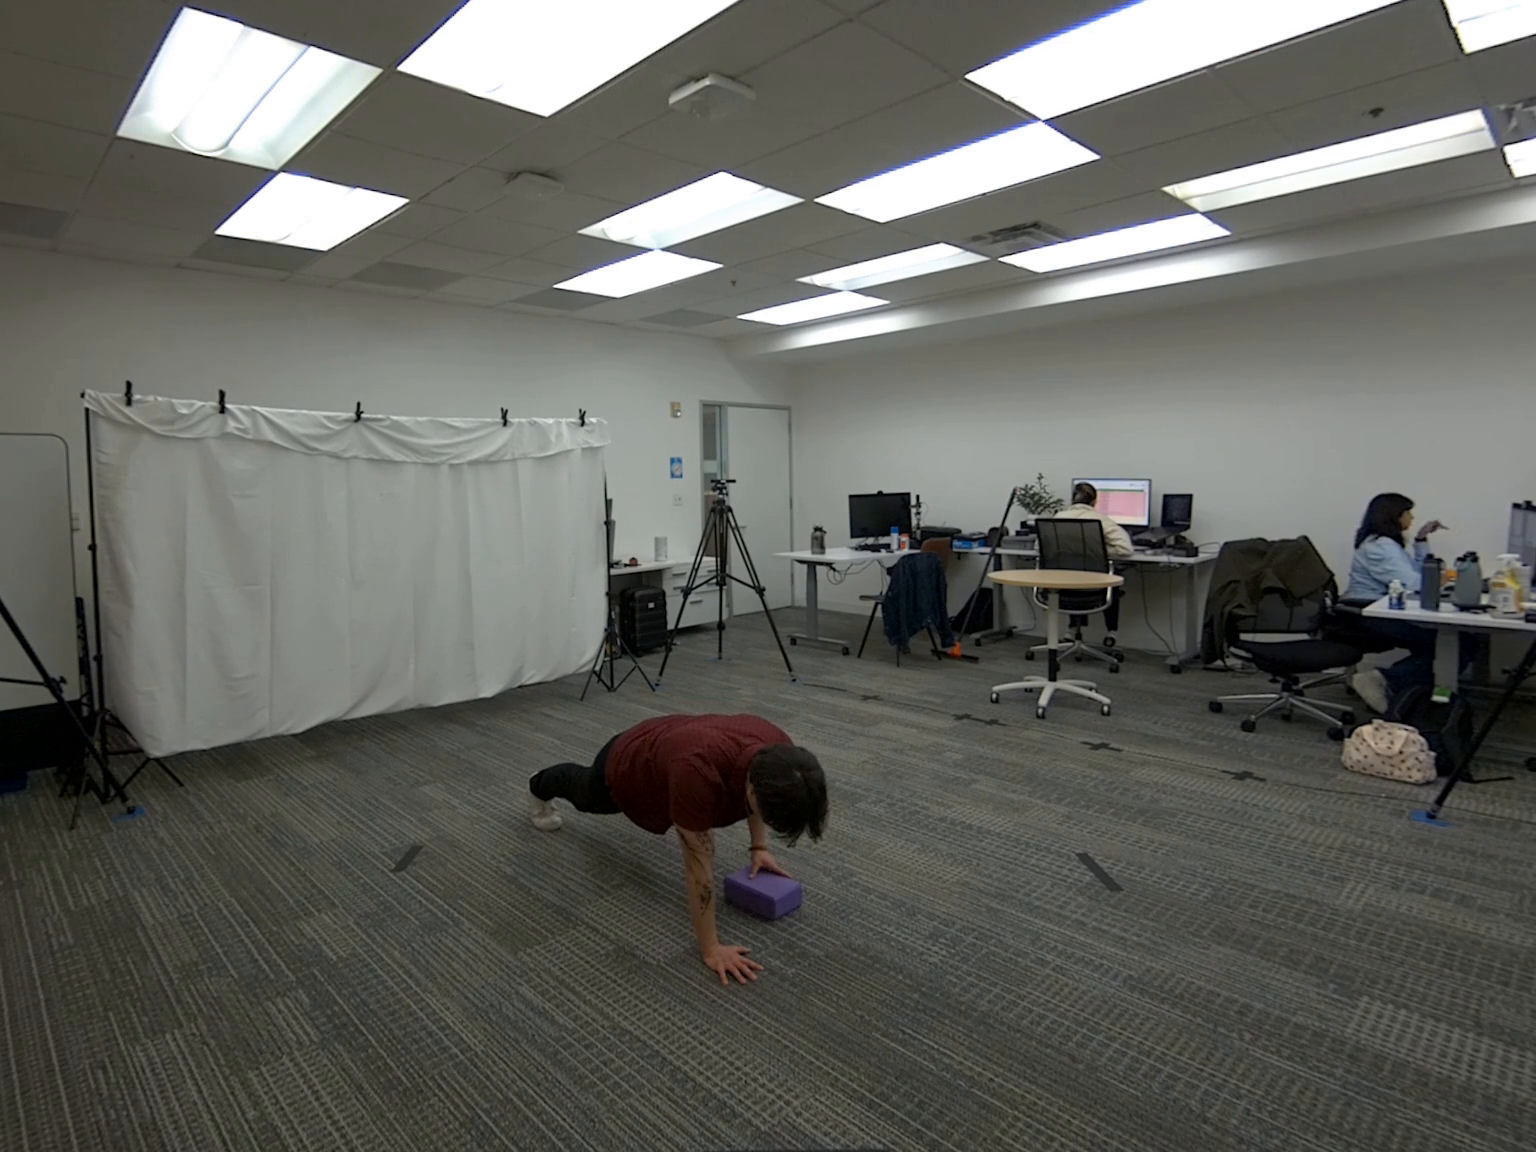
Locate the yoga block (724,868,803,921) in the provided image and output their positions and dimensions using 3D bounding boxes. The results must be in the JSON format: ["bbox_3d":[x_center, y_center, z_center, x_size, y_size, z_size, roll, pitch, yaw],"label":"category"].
[{"bbox_3d":[-0.015,1.035,2.822,0.236,0.076,0.145,4,6,43],"label":"yoga block"}]
